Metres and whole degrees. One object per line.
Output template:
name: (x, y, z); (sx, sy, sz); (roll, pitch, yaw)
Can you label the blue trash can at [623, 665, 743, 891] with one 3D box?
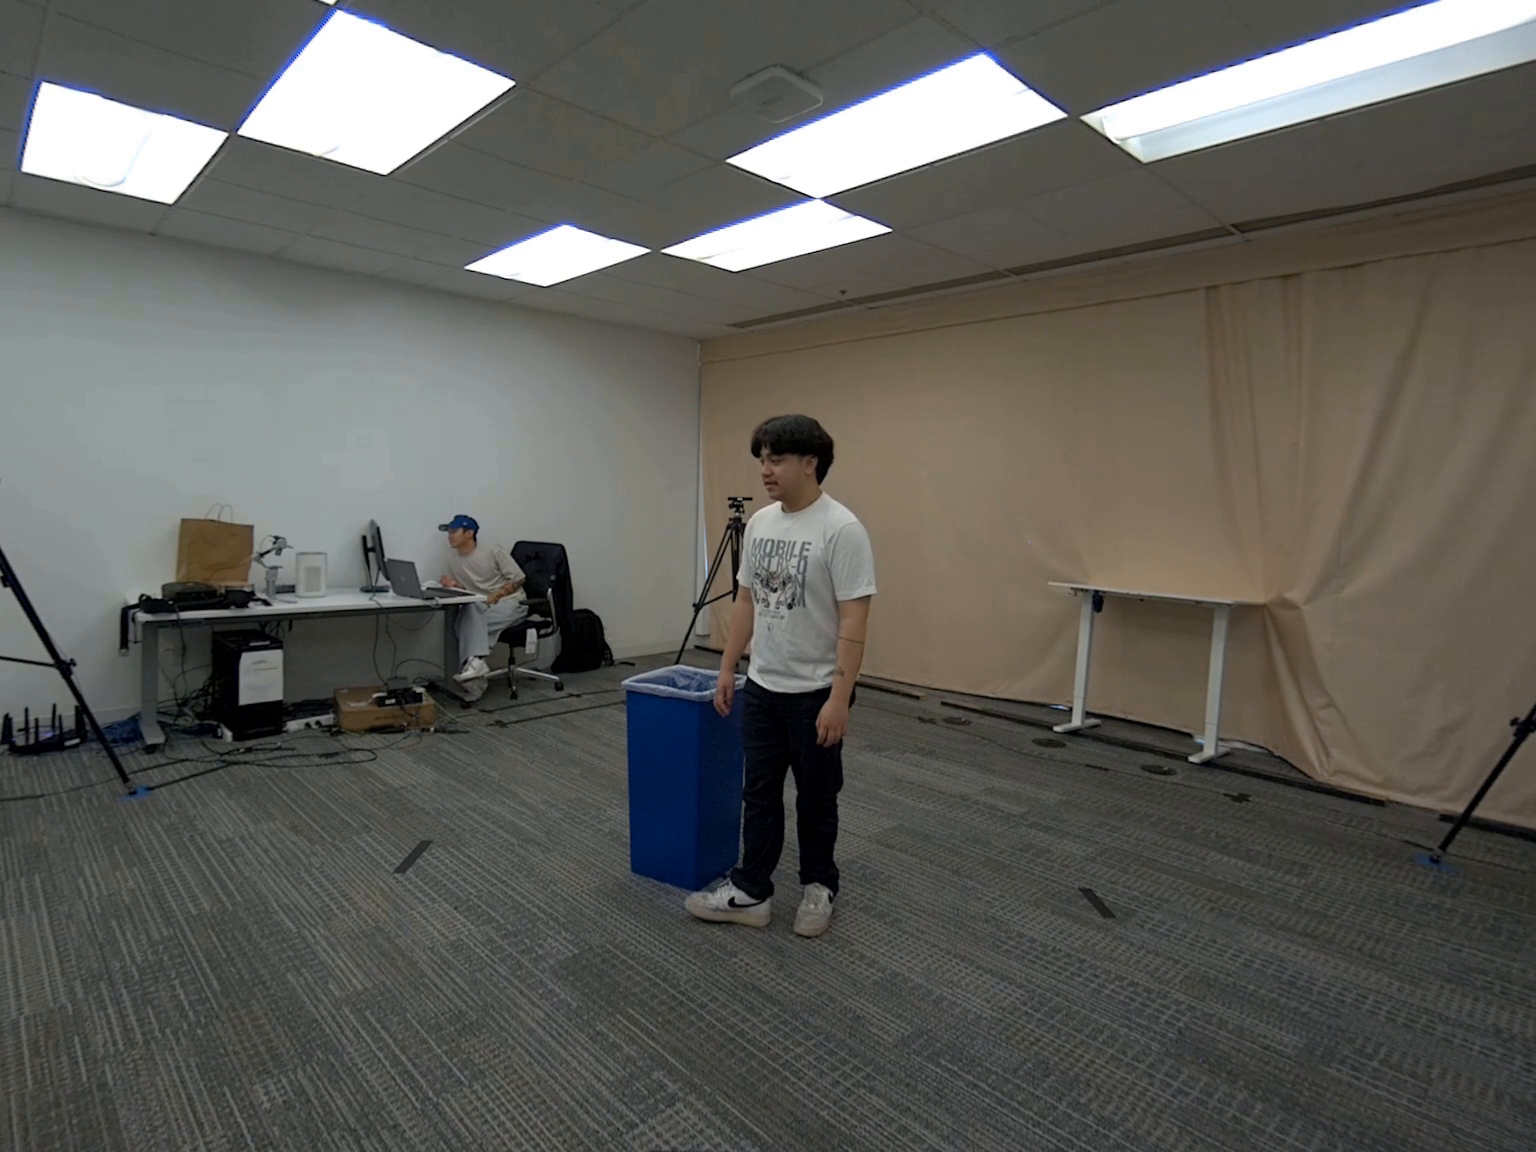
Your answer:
blue trash can: (-0.319, 0.741, 3.158); (0.382, 0.712, 0.370); (4, 4, 30)
